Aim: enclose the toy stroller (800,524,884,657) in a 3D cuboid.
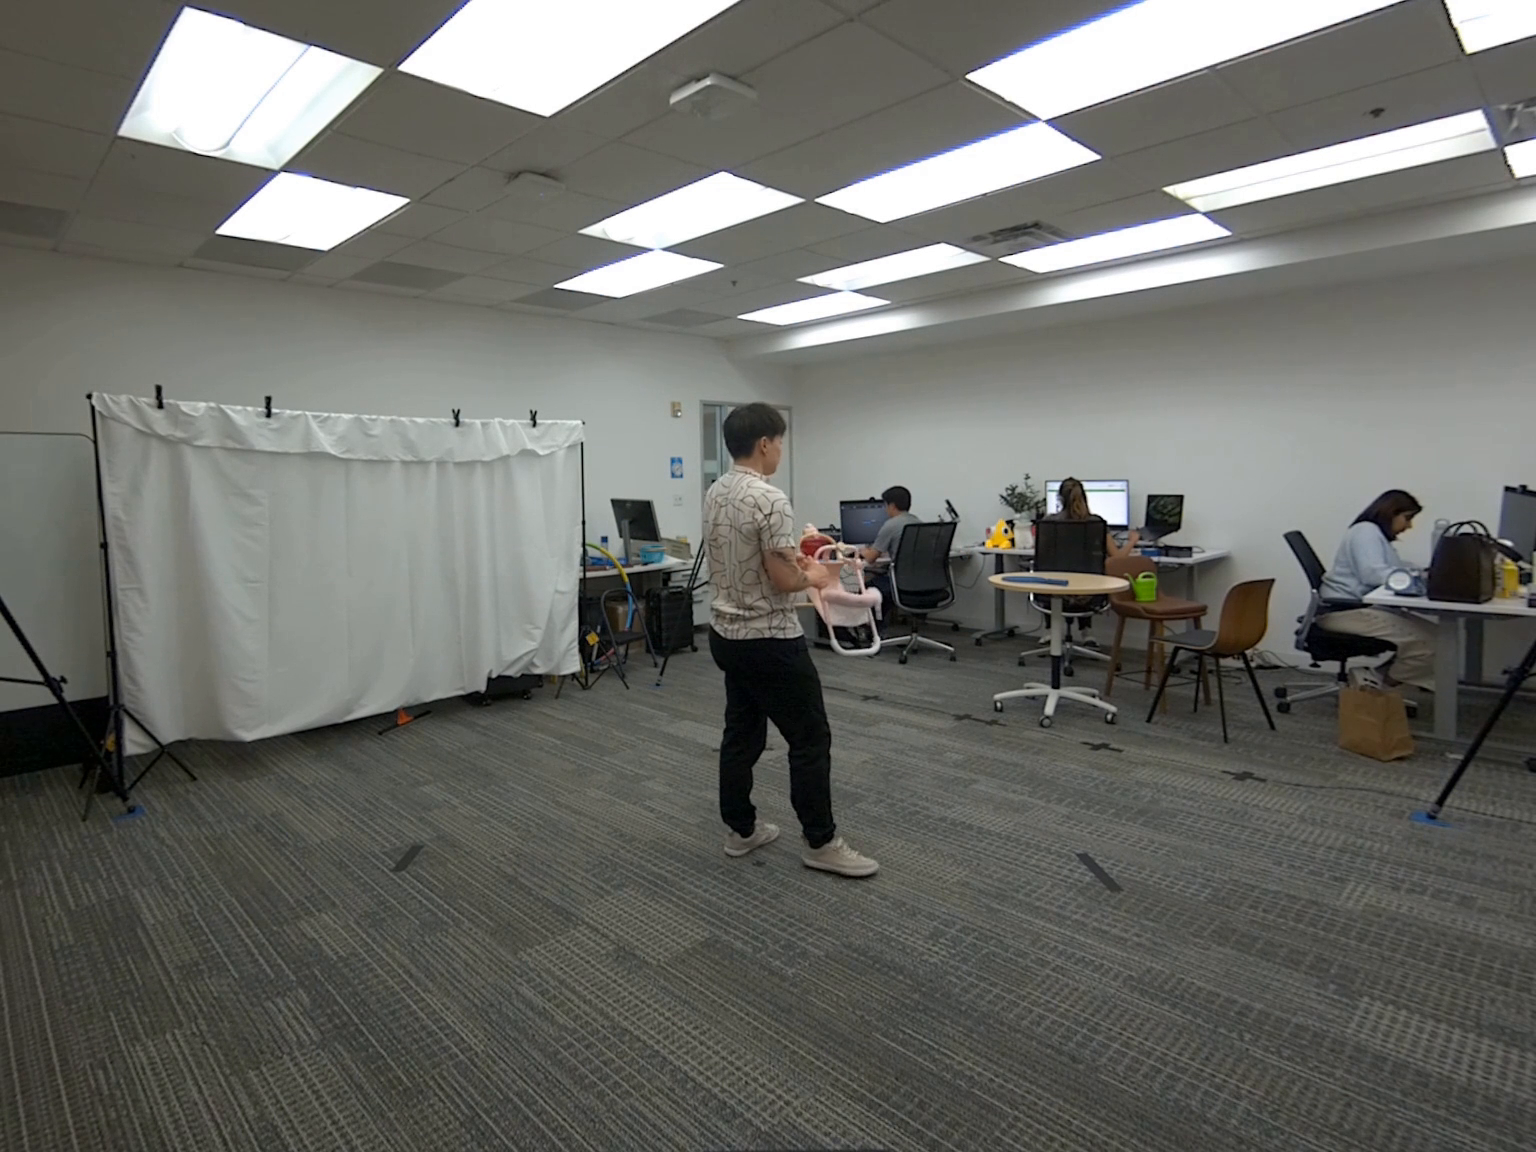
[{"bbox_3d":[0.254,0.033,3.260,0.275,0.337,0.554,3,20,-27],"label":"toy stroller"}]
